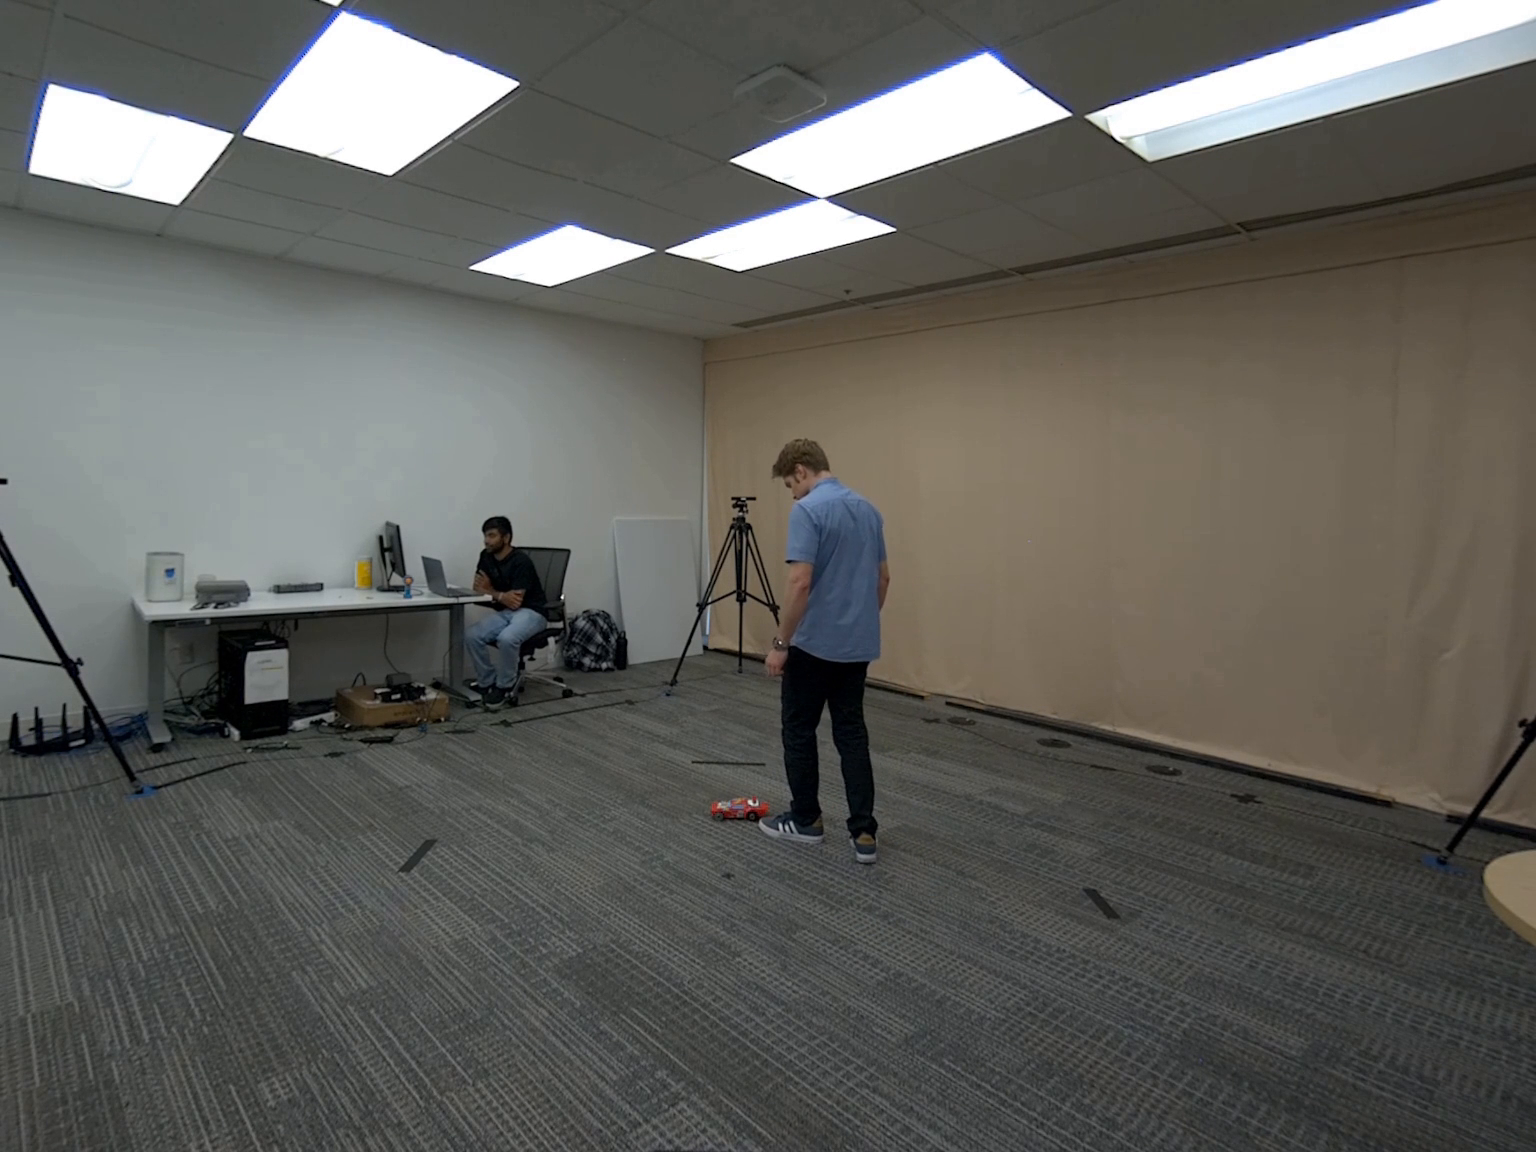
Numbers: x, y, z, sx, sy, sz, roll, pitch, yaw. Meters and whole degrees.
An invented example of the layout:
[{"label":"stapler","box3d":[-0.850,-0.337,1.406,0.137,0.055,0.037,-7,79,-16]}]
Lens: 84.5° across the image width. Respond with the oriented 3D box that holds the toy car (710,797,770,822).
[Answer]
[{"label":"toy car","box3d":[-0.132,1.023,3.689,0.254,0.083,0.131,-9,6,-1]}]
